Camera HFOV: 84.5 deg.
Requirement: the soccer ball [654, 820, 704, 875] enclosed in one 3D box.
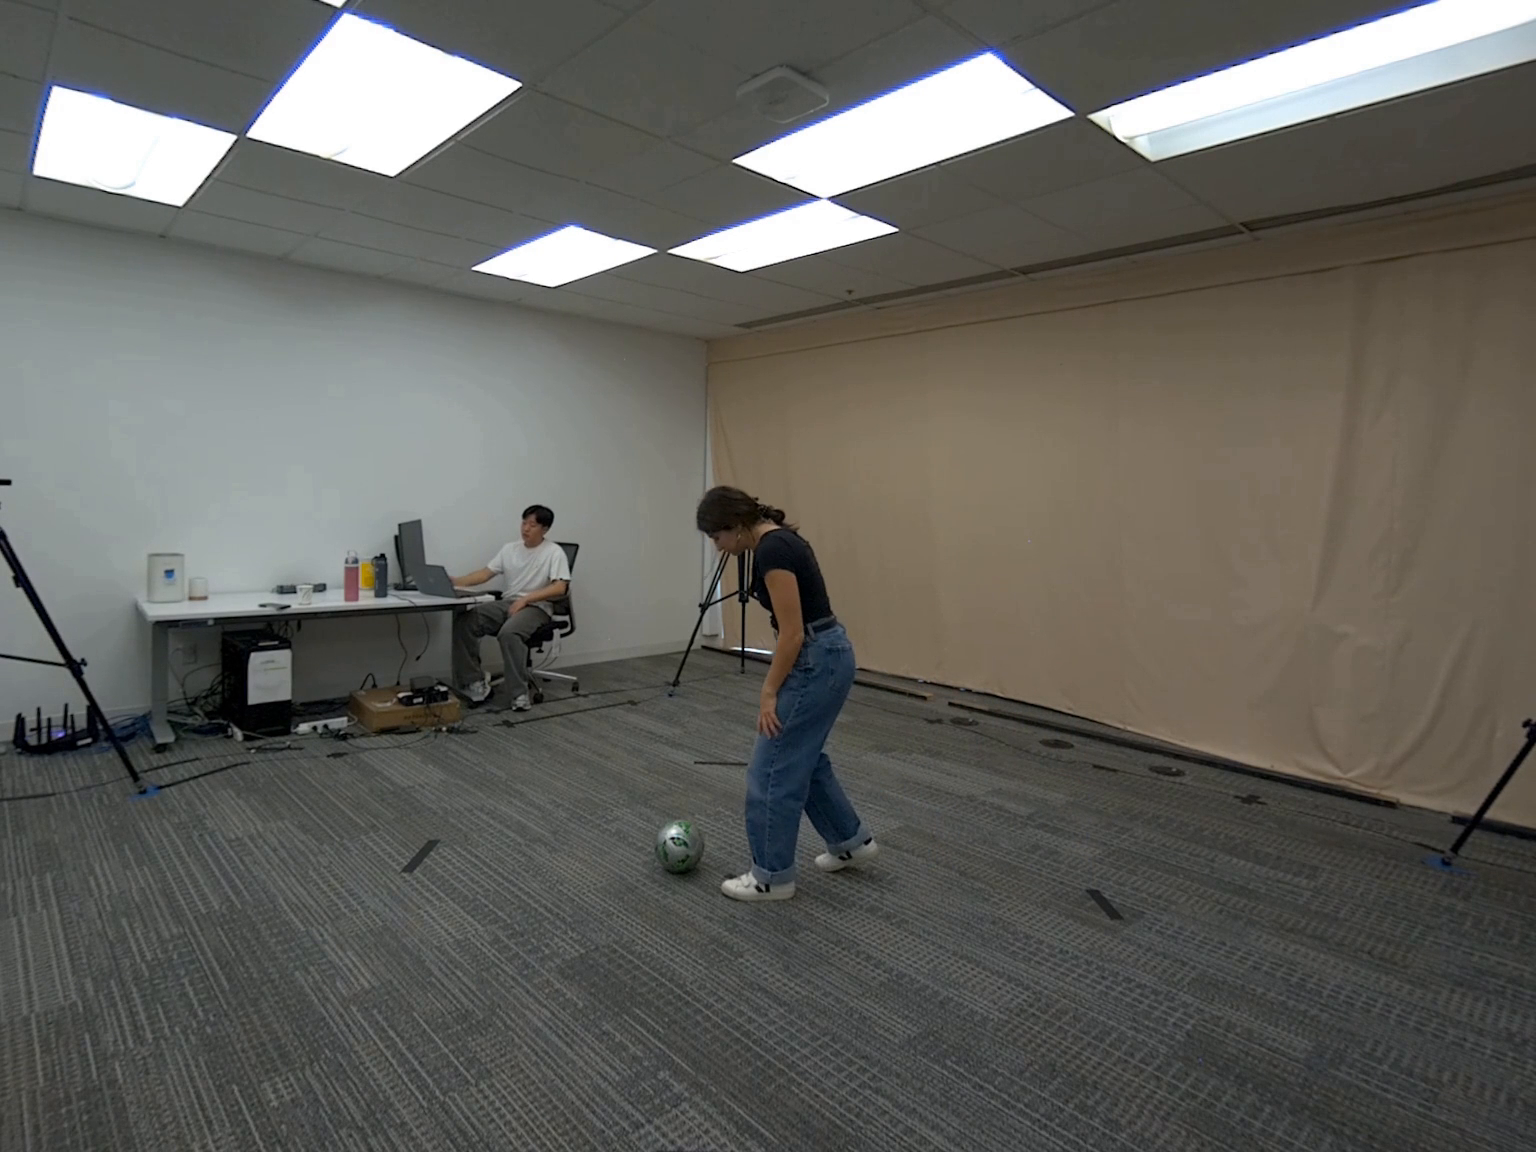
[{"bbox_3d":[-0.335,1.005,3.144,0.187,0.187,0.188,1,4,-1],"label":"soccer ball"}]
